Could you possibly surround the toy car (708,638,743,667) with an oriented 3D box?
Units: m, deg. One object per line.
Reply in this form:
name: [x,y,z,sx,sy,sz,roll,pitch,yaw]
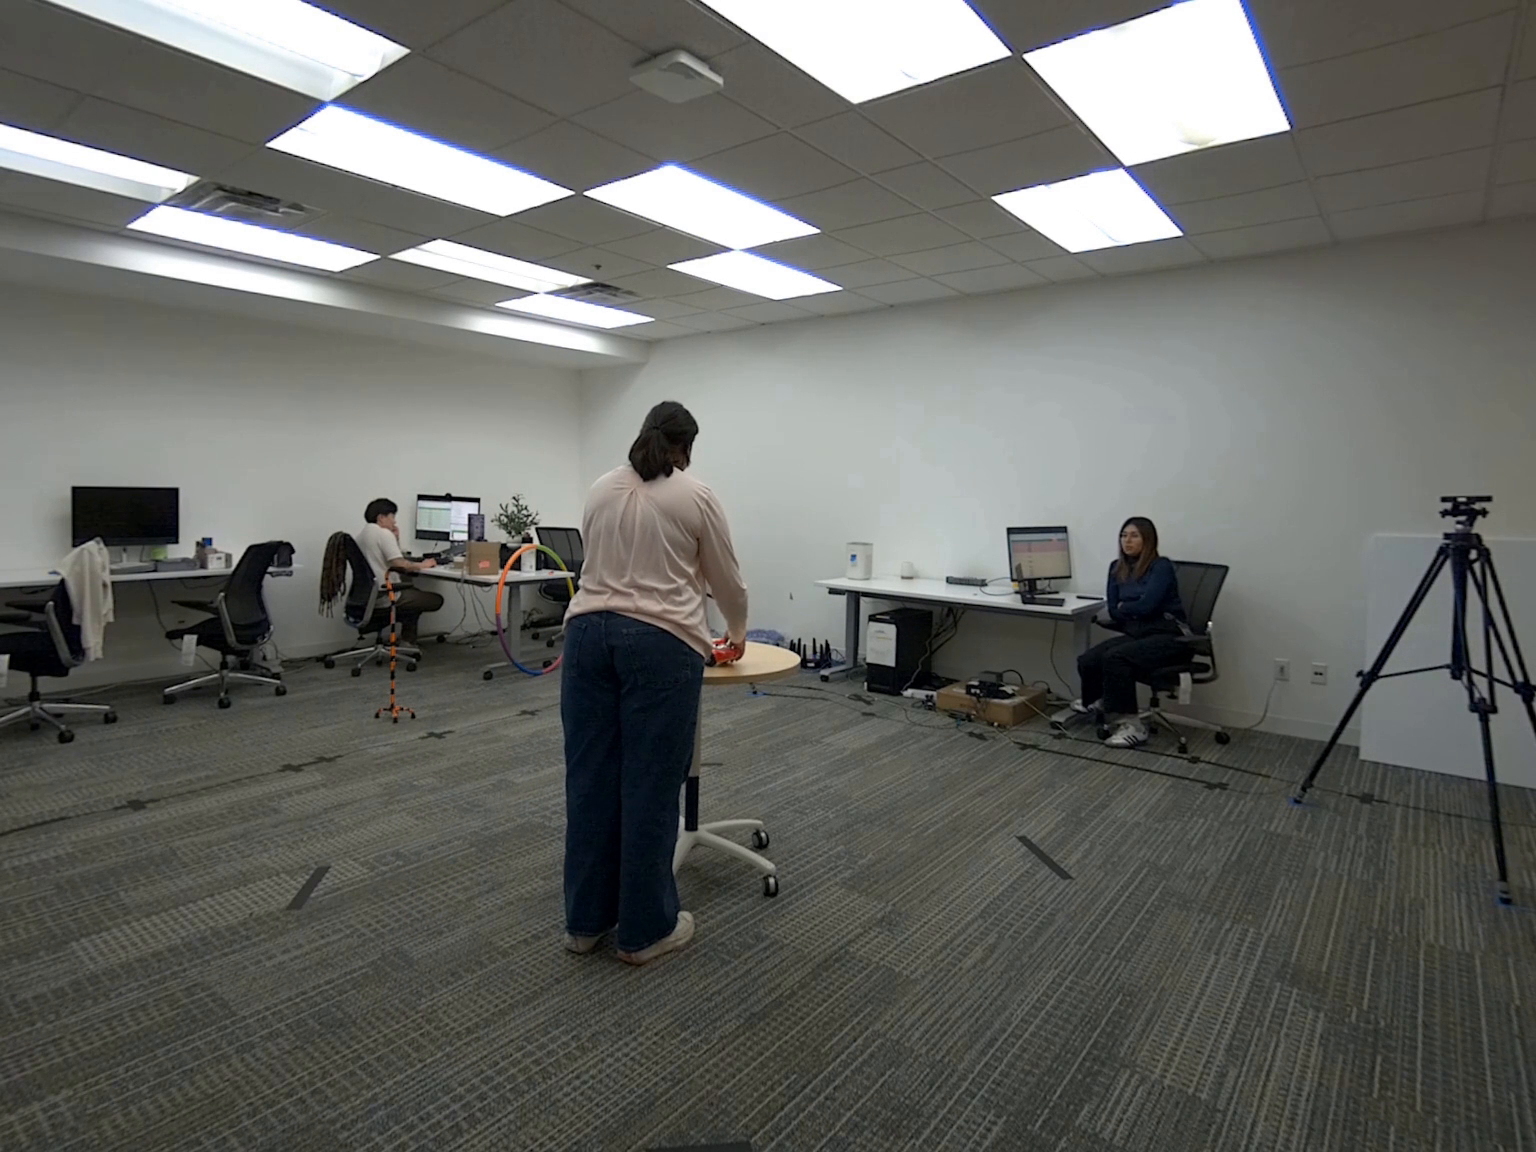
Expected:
toy car: [-0.221,0.267,2.949,0.261,0.083,0.126,-8,-2,37]
